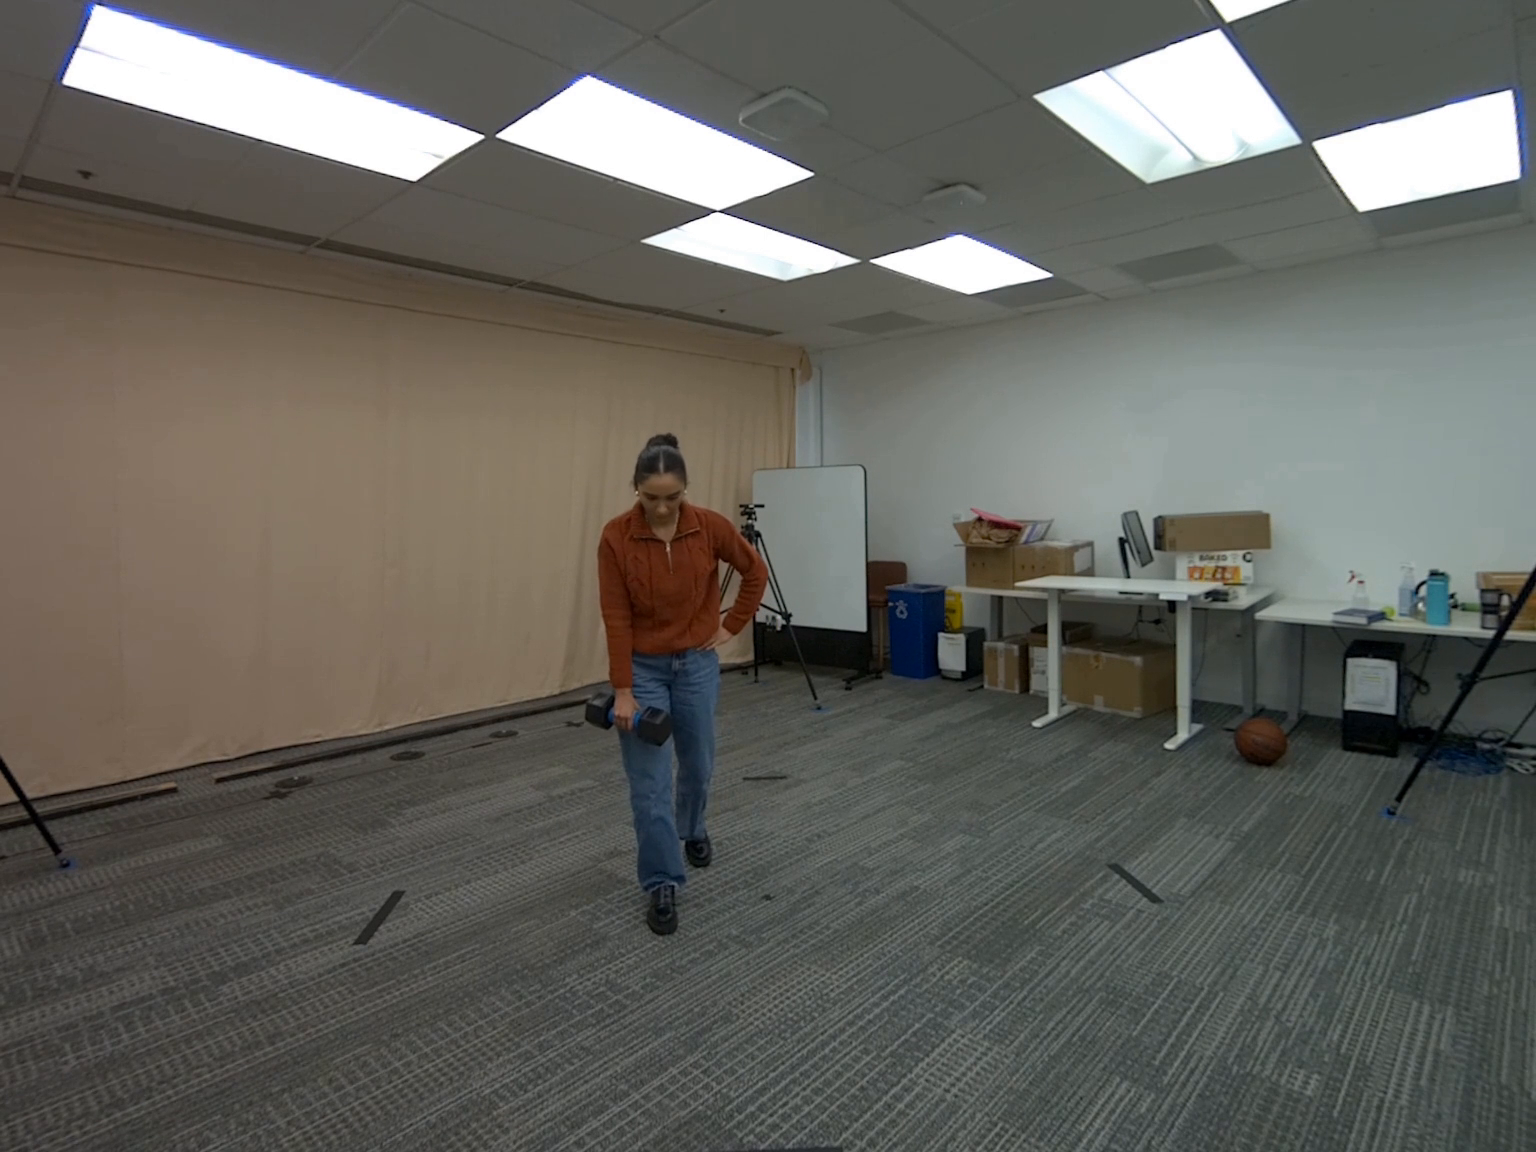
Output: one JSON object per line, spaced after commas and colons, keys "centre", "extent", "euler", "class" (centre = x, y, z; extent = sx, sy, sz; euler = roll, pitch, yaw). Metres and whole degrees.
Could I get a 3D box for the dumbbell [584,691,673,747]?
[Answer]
{"centre": [-0.463, 0.472, 2.786], "extent": [0.303, 0.123, 0.105], "euler": [11, 5, 30], "class": "dumbbell"}
